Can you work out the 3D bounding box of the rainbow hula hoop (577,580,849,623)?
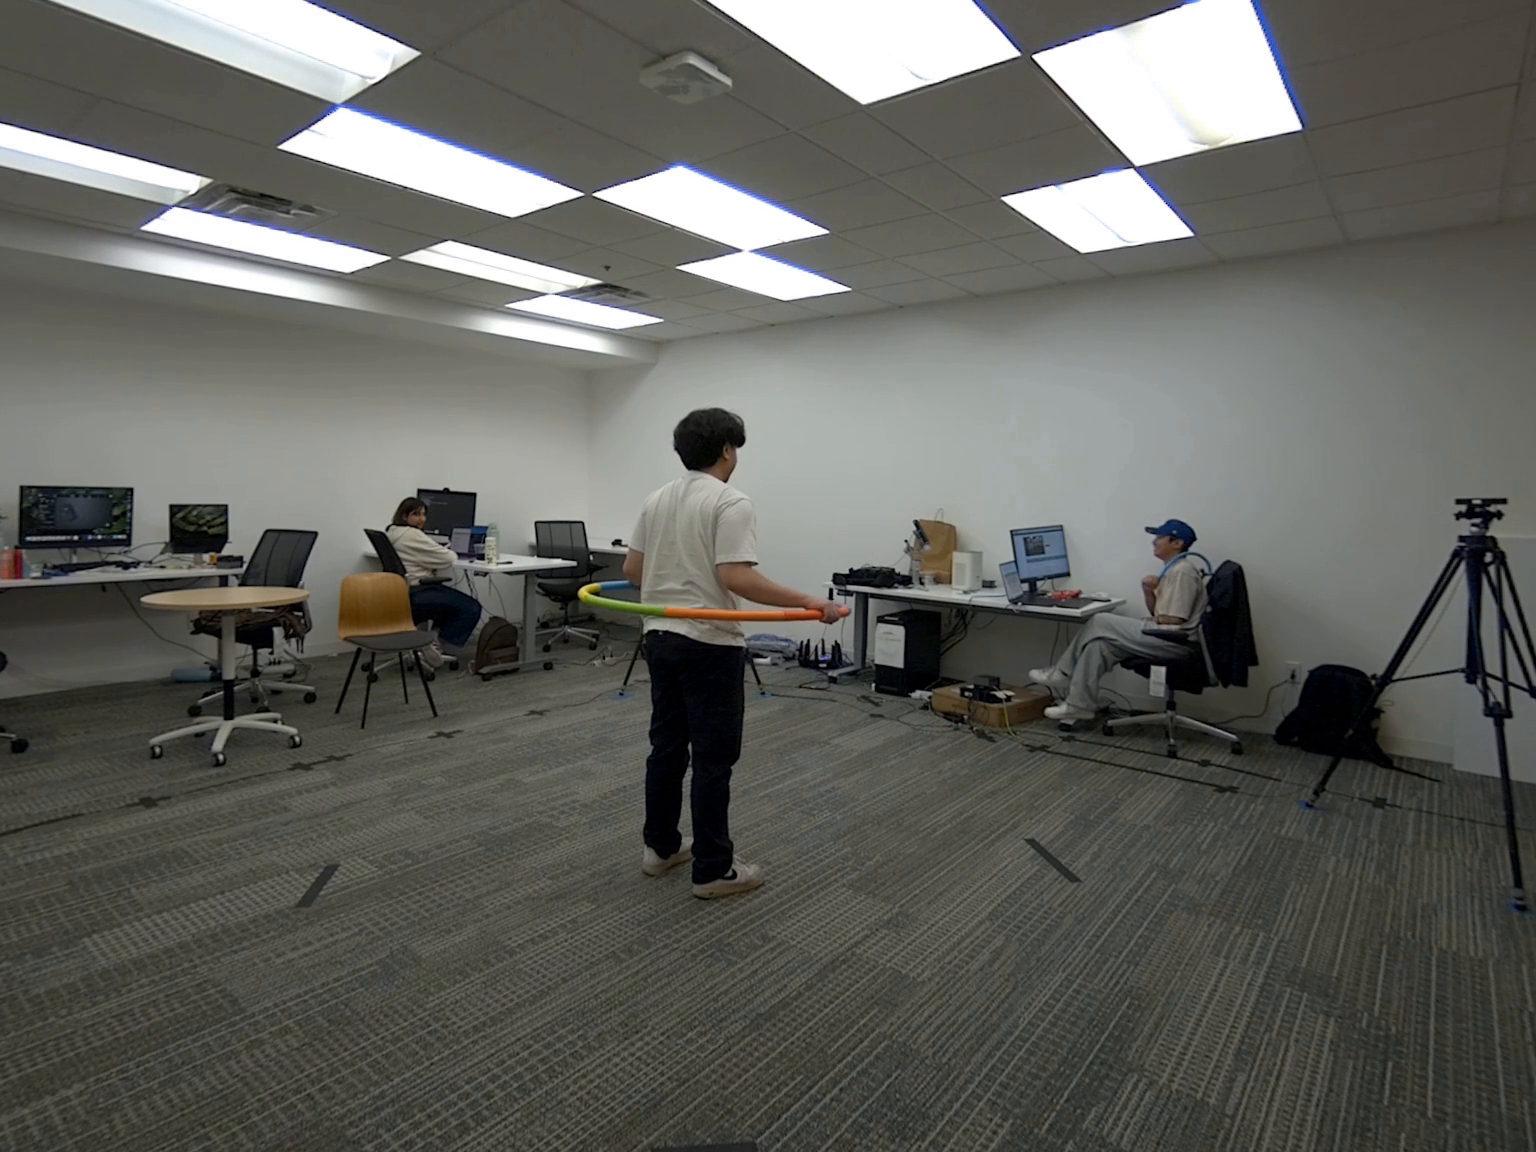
[{"bbox_3d":[-0.196,0.084,3.092,0.984,0.051,0.988,4,3,-2],"label":"rainbow hula hoop"}]
